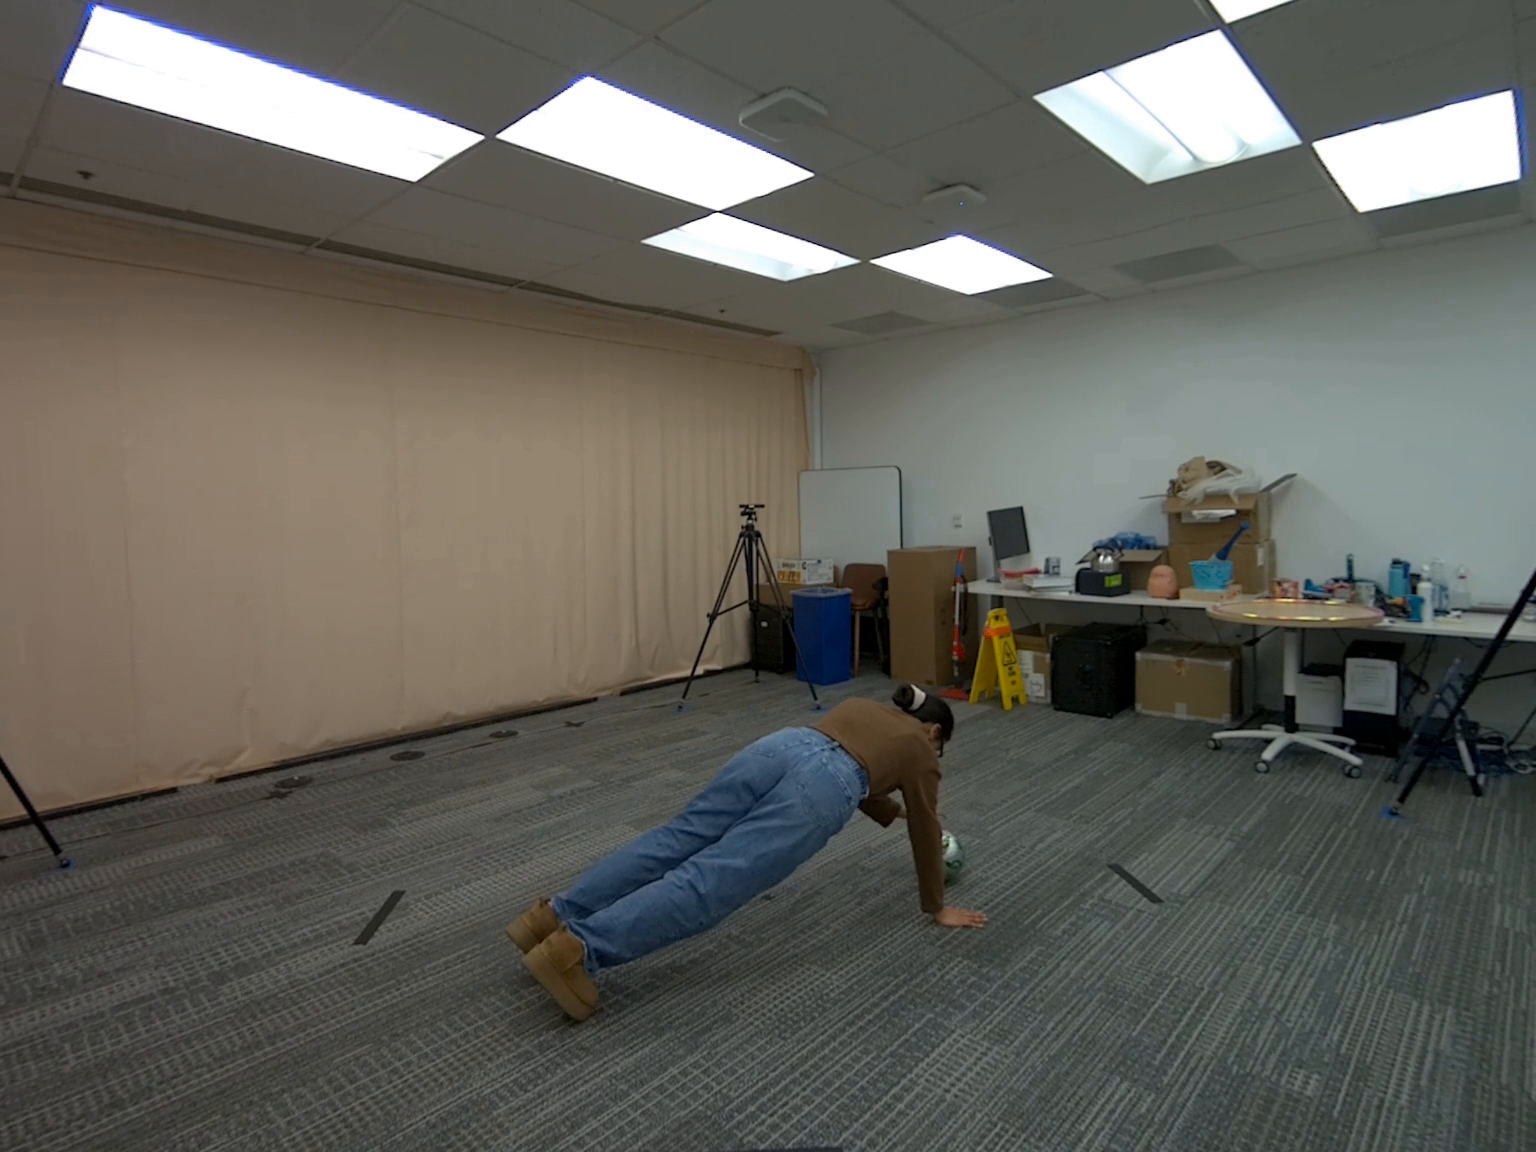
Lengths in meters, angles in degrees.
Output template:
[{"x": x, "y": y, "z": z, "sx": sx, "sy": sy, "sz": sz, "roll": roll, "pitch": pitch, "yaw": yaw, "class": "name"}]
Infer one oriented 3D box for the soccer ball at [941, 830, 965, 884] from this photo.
[{"x": 0.632, "y": 1.027, "z": 3.096, "sx": 0.187, "sy": 0.187, "sz": 0.188, "roll": -1, "pitch": 4, "yaw": -2, "class": "soccer ball"}]
